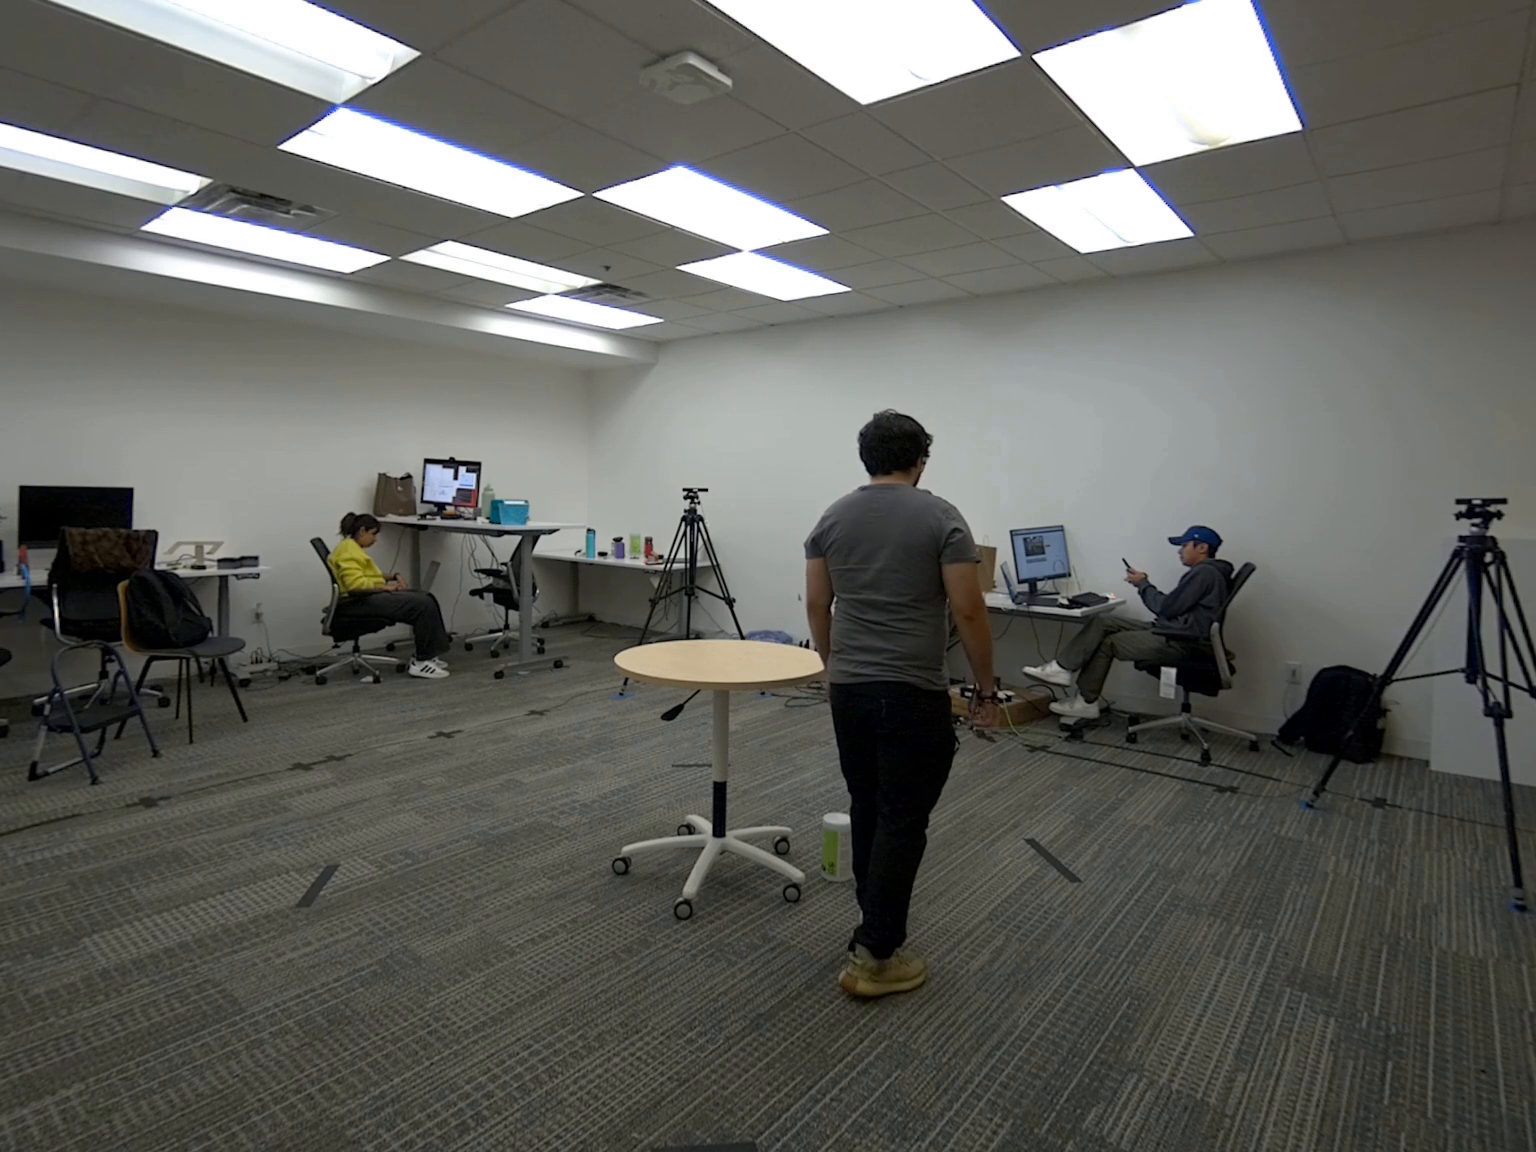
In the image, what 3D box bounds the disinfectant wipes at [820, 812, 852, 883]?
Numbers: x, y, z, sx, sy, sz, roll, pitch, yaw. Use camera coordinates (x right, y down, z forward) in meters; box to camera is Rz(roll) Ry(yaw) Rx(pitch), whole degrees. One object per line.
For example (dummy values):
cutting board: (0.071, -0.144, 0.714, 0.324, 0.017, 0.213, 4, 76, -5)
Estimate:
disinfectant wipes: (0.239, 0.973, 3.068, 0.117, 0.217, 0.118, 2, 4, -2)
